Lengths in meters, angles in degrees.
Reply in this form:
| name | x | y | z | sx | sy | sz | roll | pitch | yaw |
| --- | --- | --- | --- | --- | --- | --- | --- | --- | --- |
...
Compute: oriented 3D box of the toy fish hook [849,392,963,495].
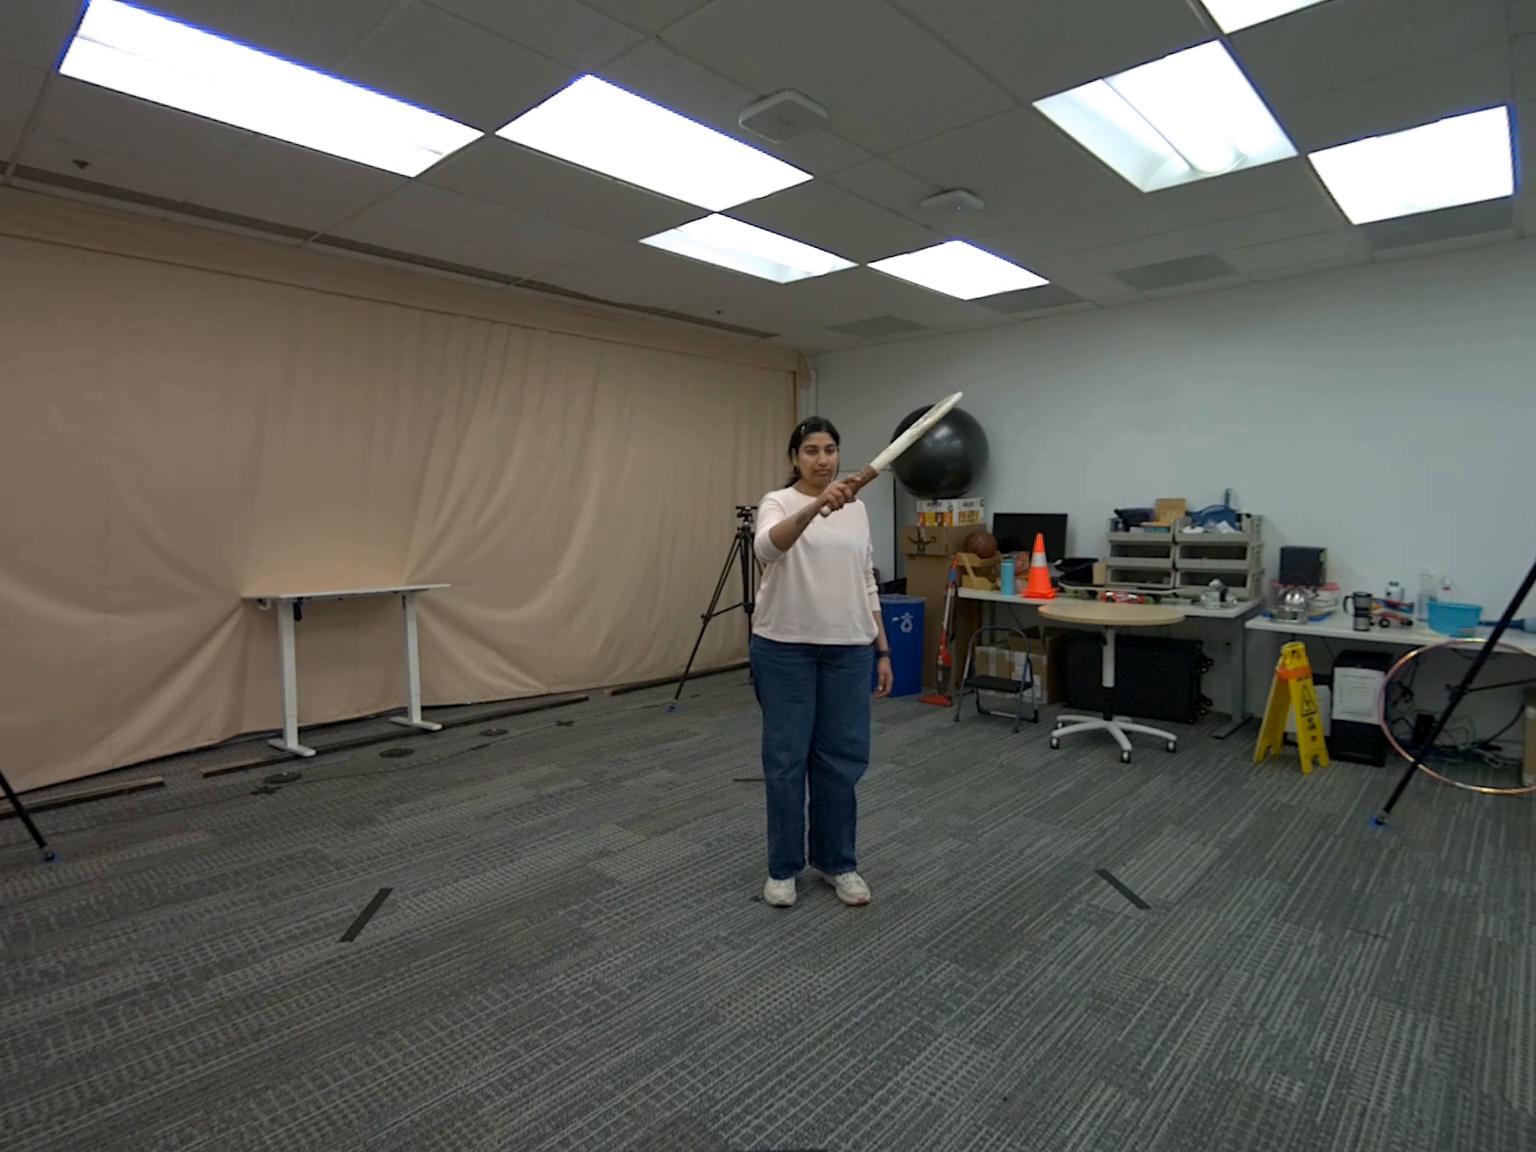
| name | x | y | z | sx | sy | sz | roll | pitch | yaw |
| --- | --- | --- | --- | --- | --- | --- | --- | --- | --- |
| toy fish hook | 0.347 | -0.334 | 2.388 | 0.508 | 0.048 | 0.223 | -42 | -1 | 6 |
